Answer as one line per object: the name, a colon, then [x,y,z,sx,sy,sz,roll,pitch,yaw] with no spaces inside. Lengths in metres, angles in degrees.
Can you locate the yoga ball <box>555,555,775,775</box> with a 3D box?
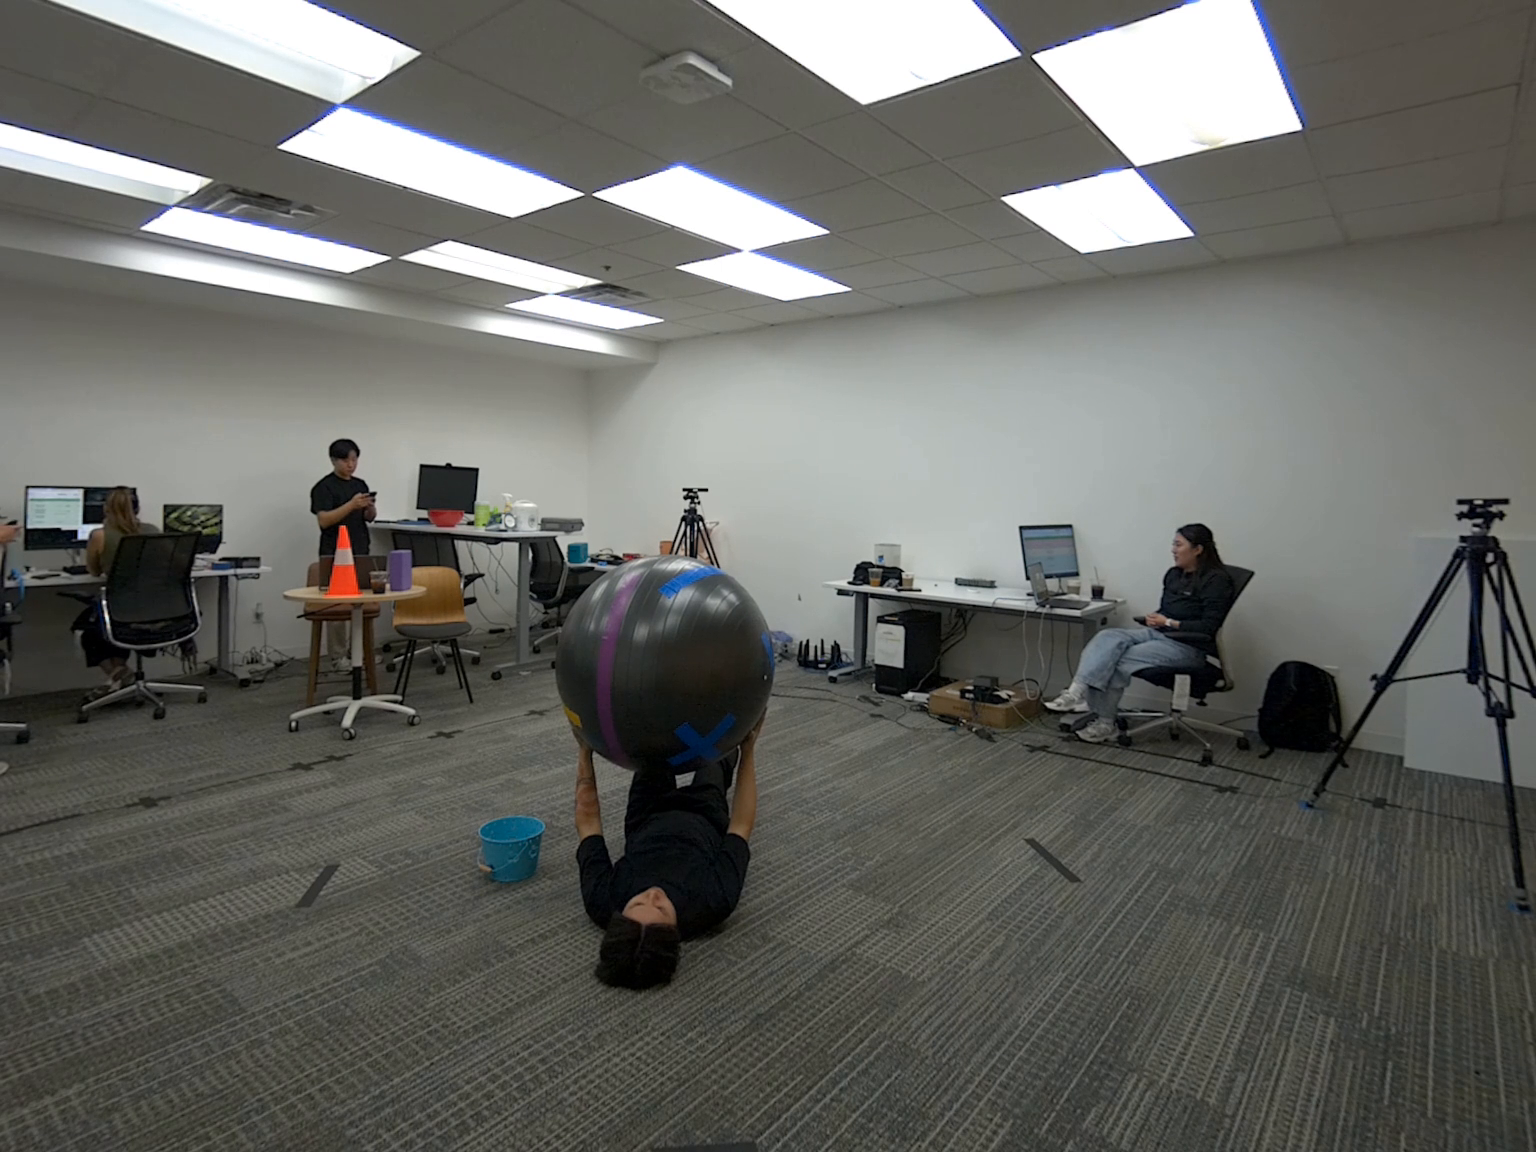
yoga ball: [-0.364,0.310,2.970,0.757,0.755,0.762,1,4,-2]
